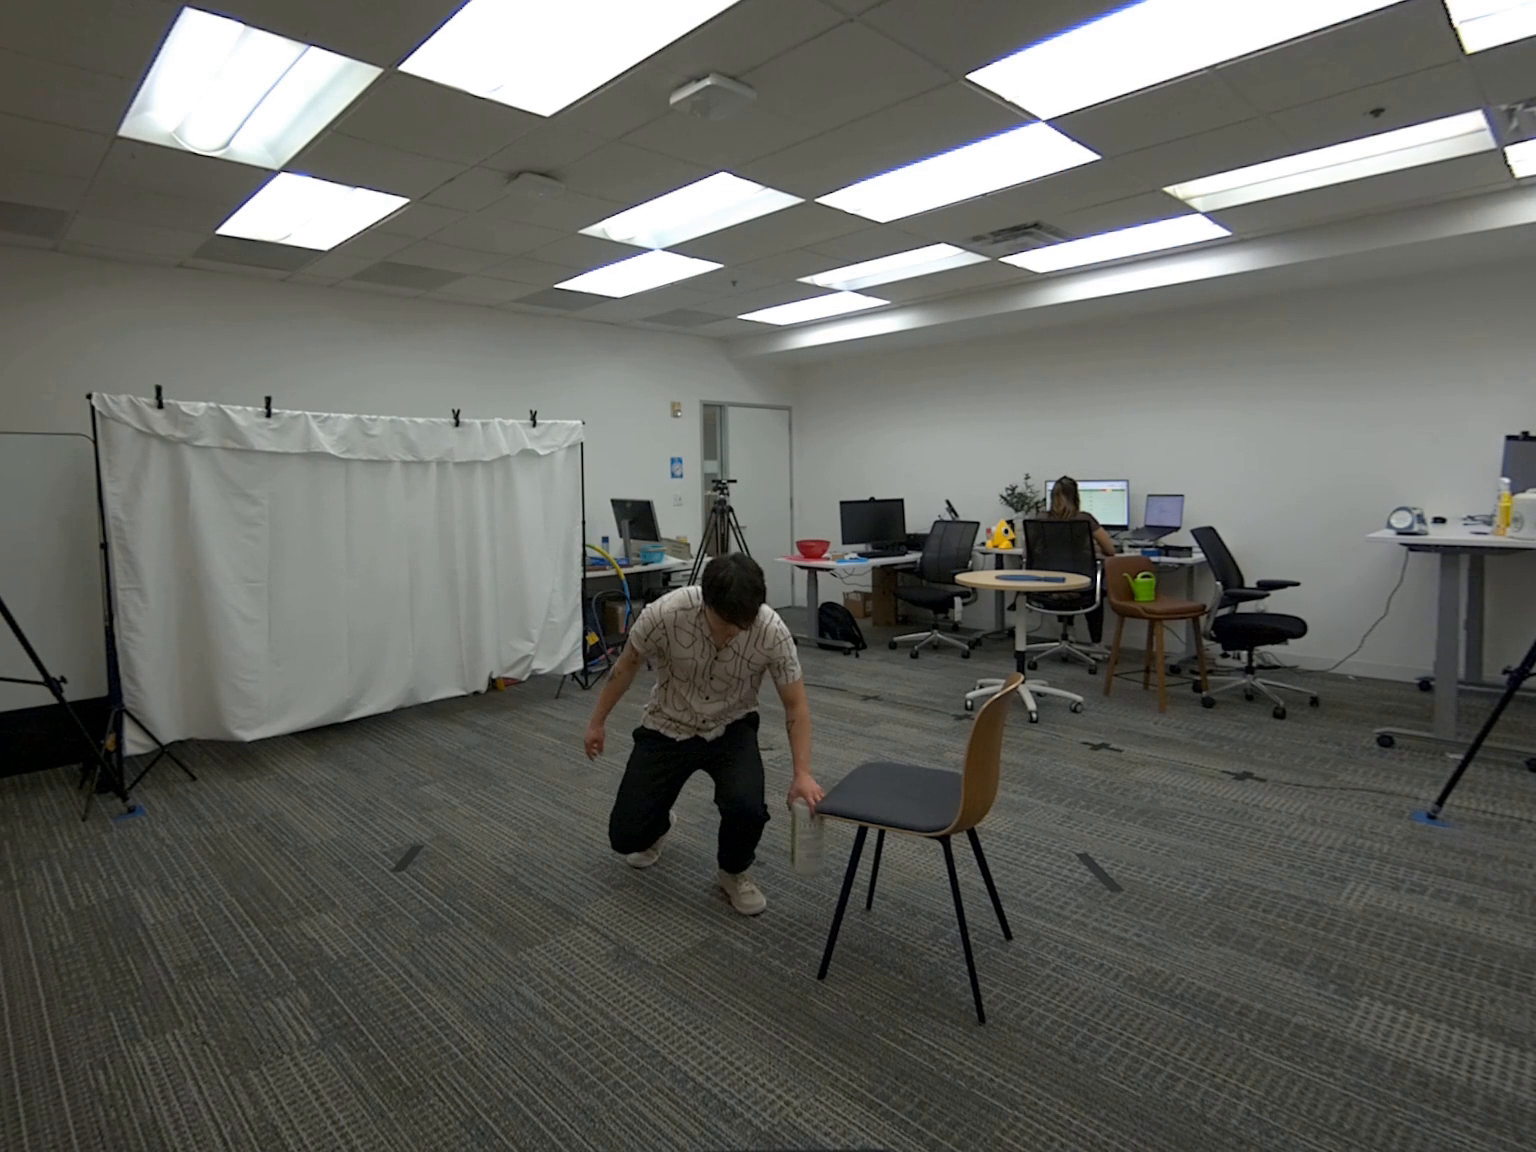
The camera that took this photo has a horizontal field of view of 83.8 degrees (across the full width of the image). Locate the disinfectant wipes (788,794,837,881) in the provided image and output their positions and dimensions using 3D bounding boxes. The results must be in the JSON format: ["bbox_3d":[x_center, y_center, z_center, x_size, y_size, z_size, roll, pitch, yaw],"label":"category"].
[{"bbox_3d":[0.135,0.812,2.672,0.118,0.218,0.118,-5,-1,-2],"label":"disinfectant wipes"}]
